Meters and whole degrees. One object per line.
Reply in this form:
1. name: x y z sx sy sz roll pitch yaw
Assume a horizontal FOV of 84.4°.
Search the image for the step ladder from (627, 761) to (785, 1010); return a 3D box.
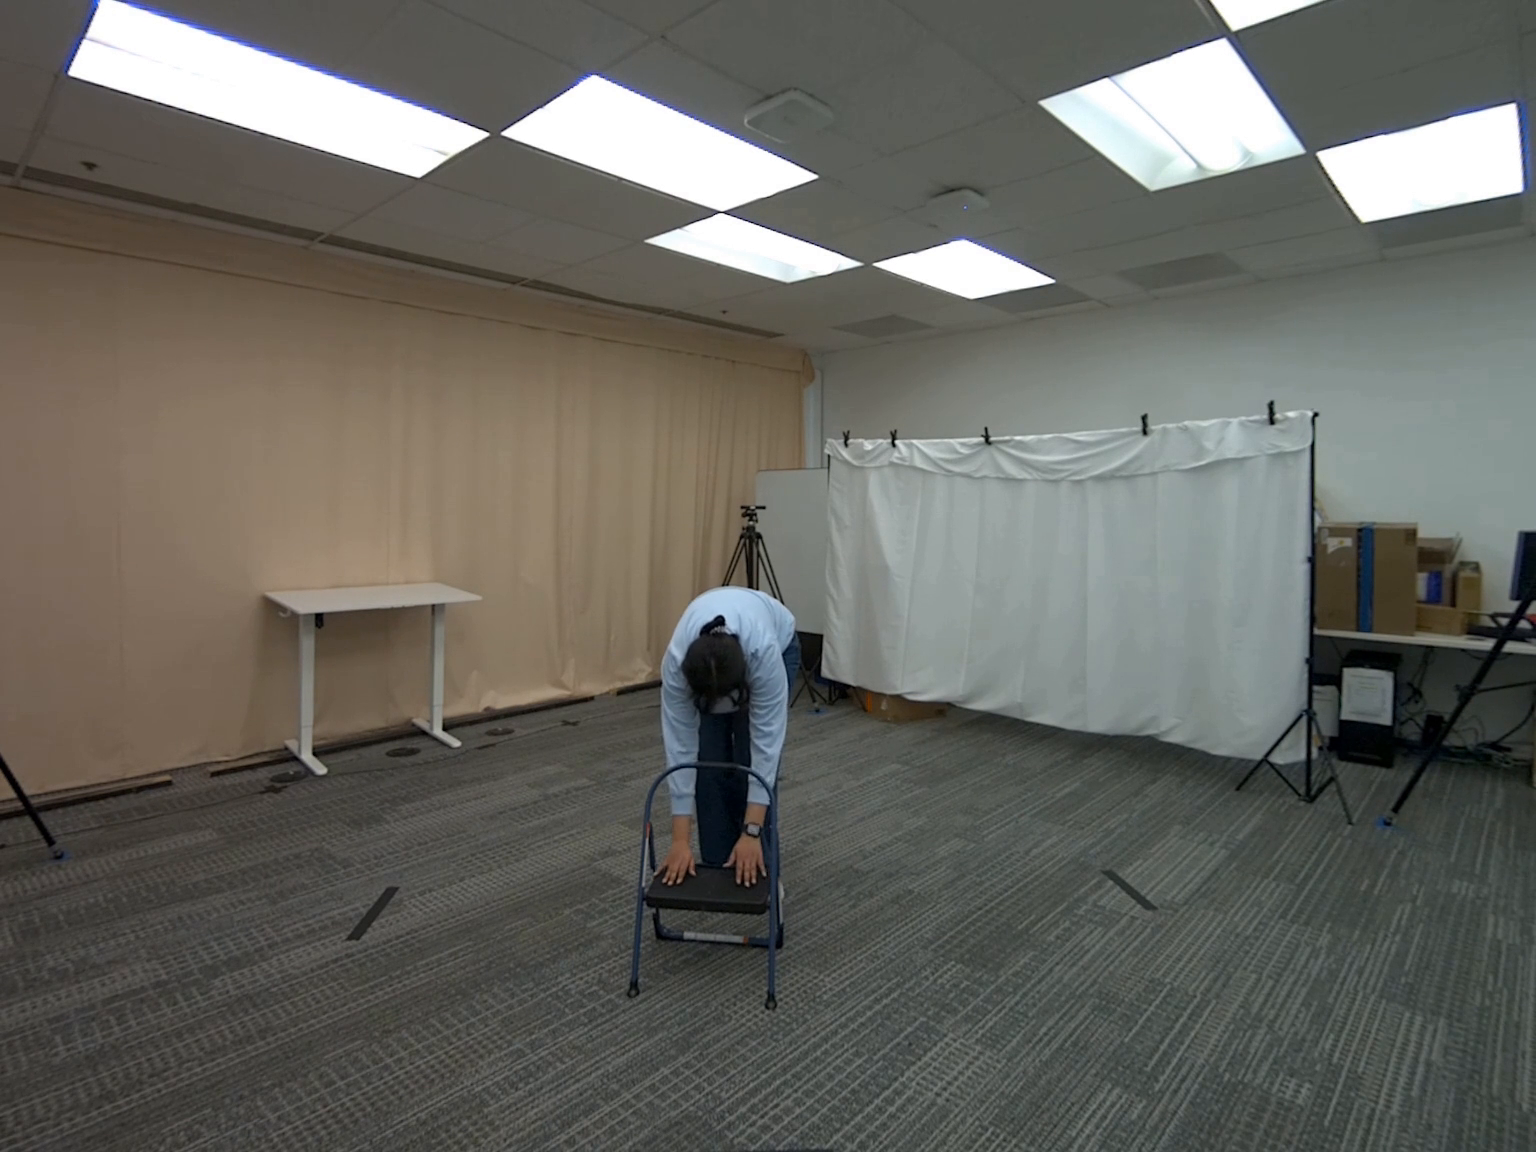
1. step ladder: -0.172 0.878 2.517 0.435 0.605 0.347 1 3 8
